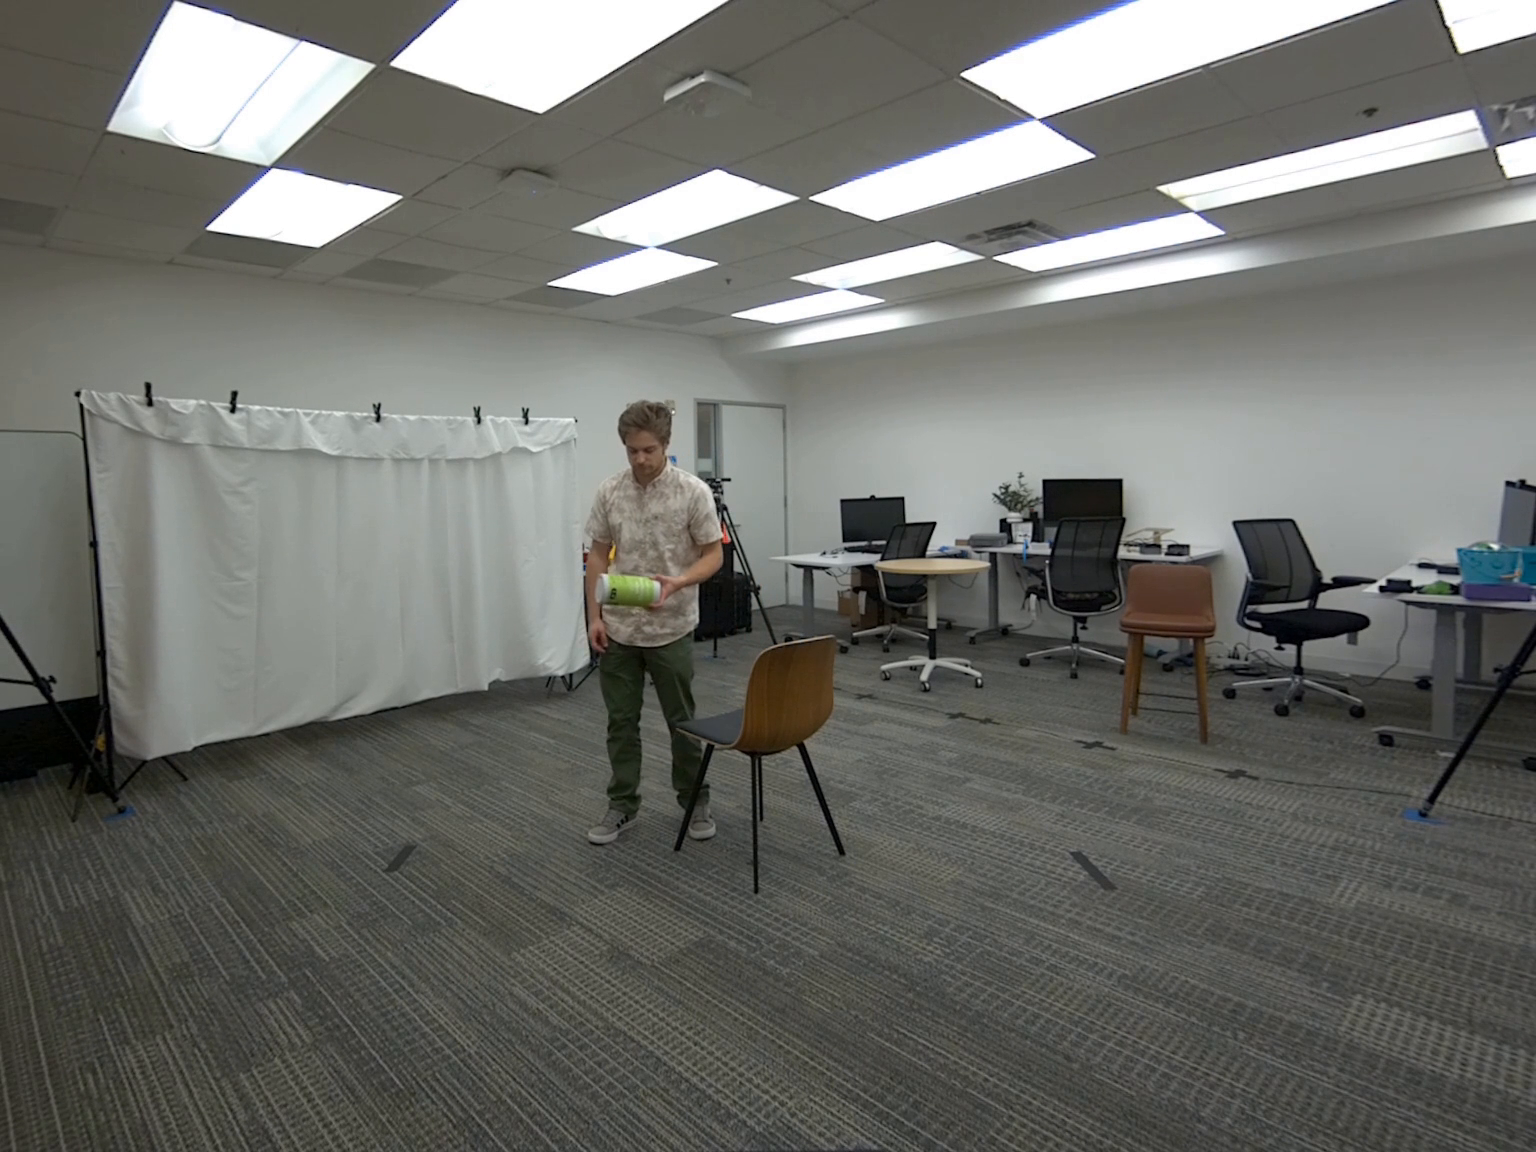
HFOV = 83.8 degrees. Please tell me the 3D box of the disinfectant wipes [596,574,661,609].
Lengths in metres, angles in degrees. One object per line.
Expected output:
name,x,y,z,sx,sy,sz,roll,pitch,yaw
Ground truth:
disinfectant wipes,-0.502,0.057,3.060,0.212,0.118,0.121,7,1,-25
